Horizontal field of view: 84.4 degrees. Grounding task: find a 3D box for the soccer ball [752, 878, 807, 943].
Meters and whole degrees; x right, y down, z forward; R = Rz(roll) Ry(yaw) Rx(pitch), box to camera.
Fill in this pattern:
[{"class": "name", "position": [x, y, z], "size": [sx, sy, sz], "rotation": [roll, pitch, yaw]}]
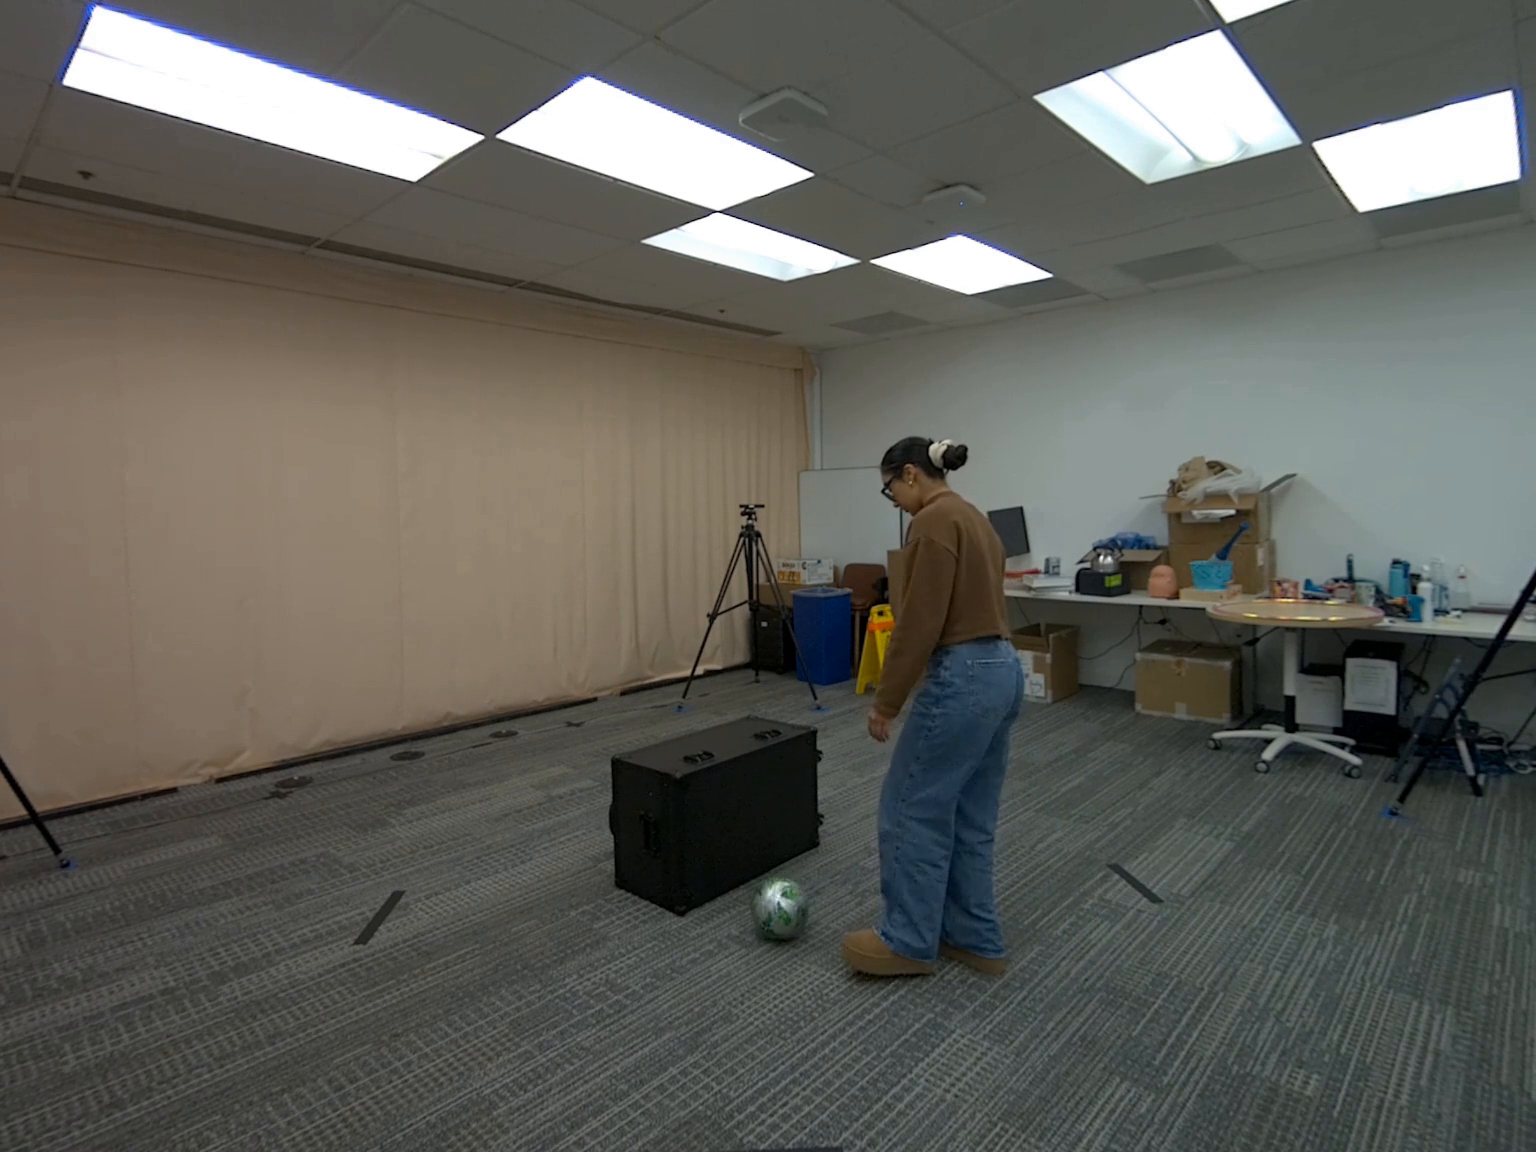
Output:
[{"class": "soccer ball", "position": [0.034, 1.063, 2.715], "size": [0.187, 0.187, 0.188], "rotation": [-1, 4, -2]}]
